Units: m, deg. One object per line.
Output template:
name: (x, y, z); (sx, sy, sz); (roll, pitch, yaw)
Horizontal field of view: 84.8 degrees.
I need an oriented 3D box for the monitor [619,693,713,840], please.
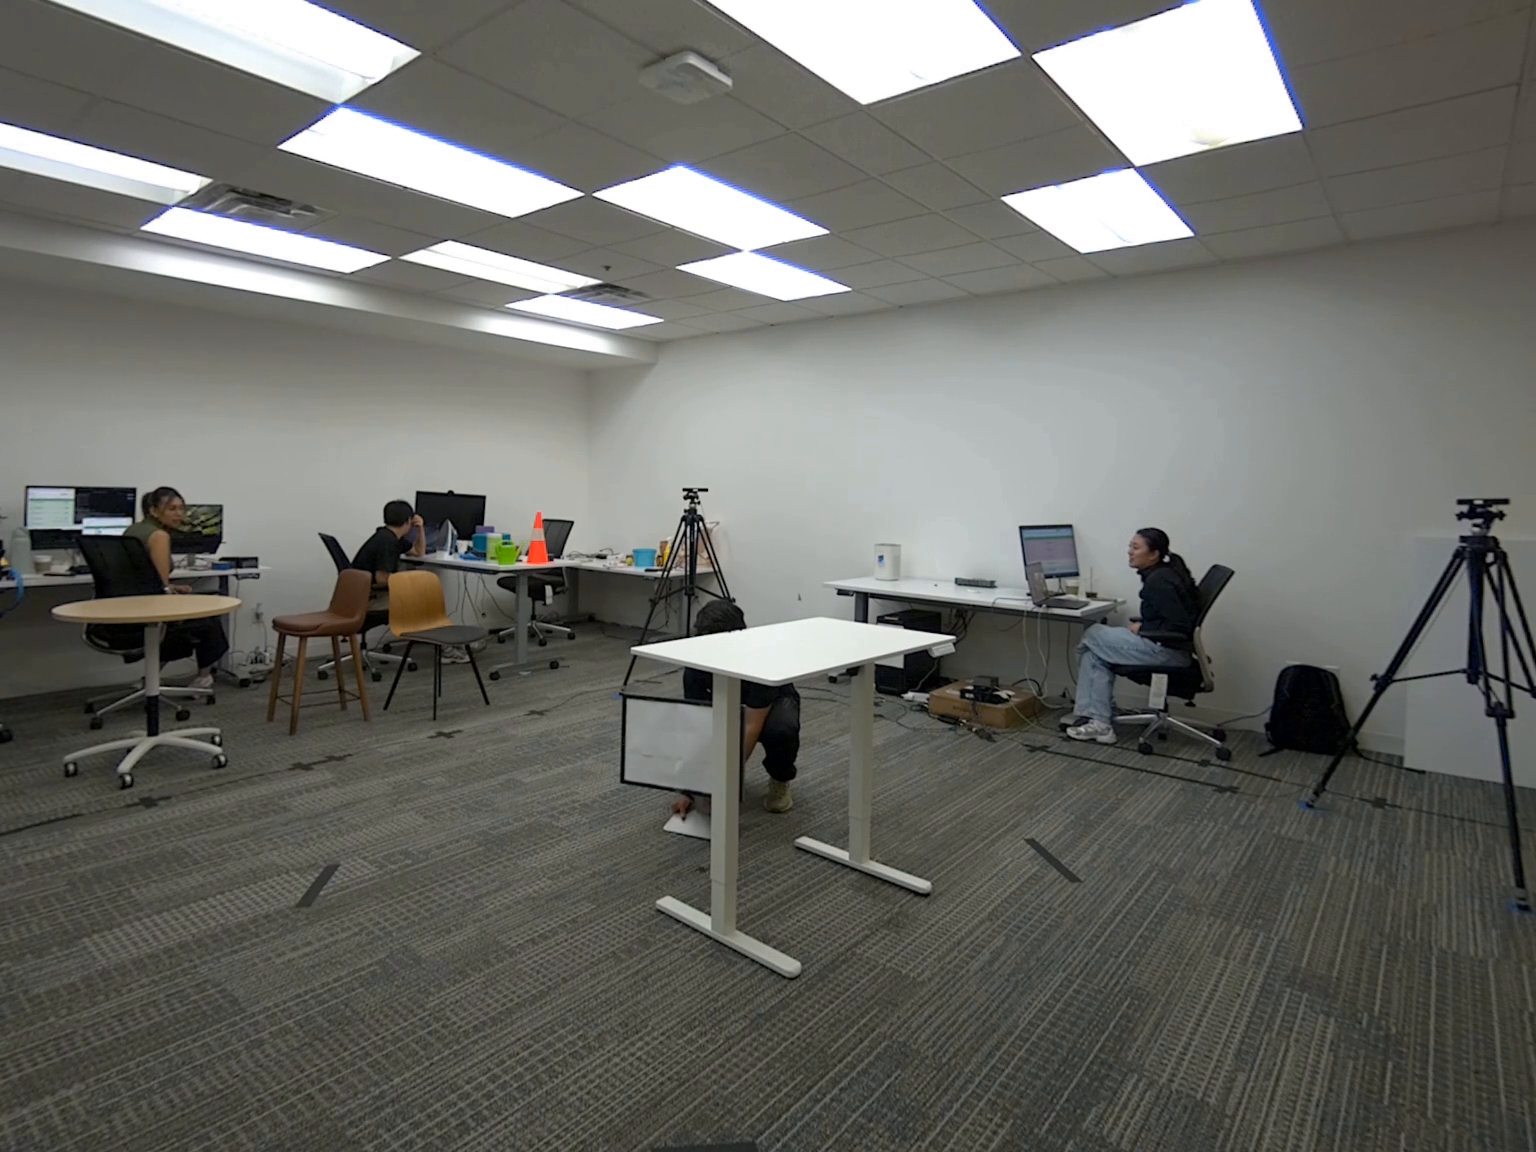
monitor: (-0.334, 0.750, 3.436); (0.581, 0.551, 0.205); (1, 6, 29)
